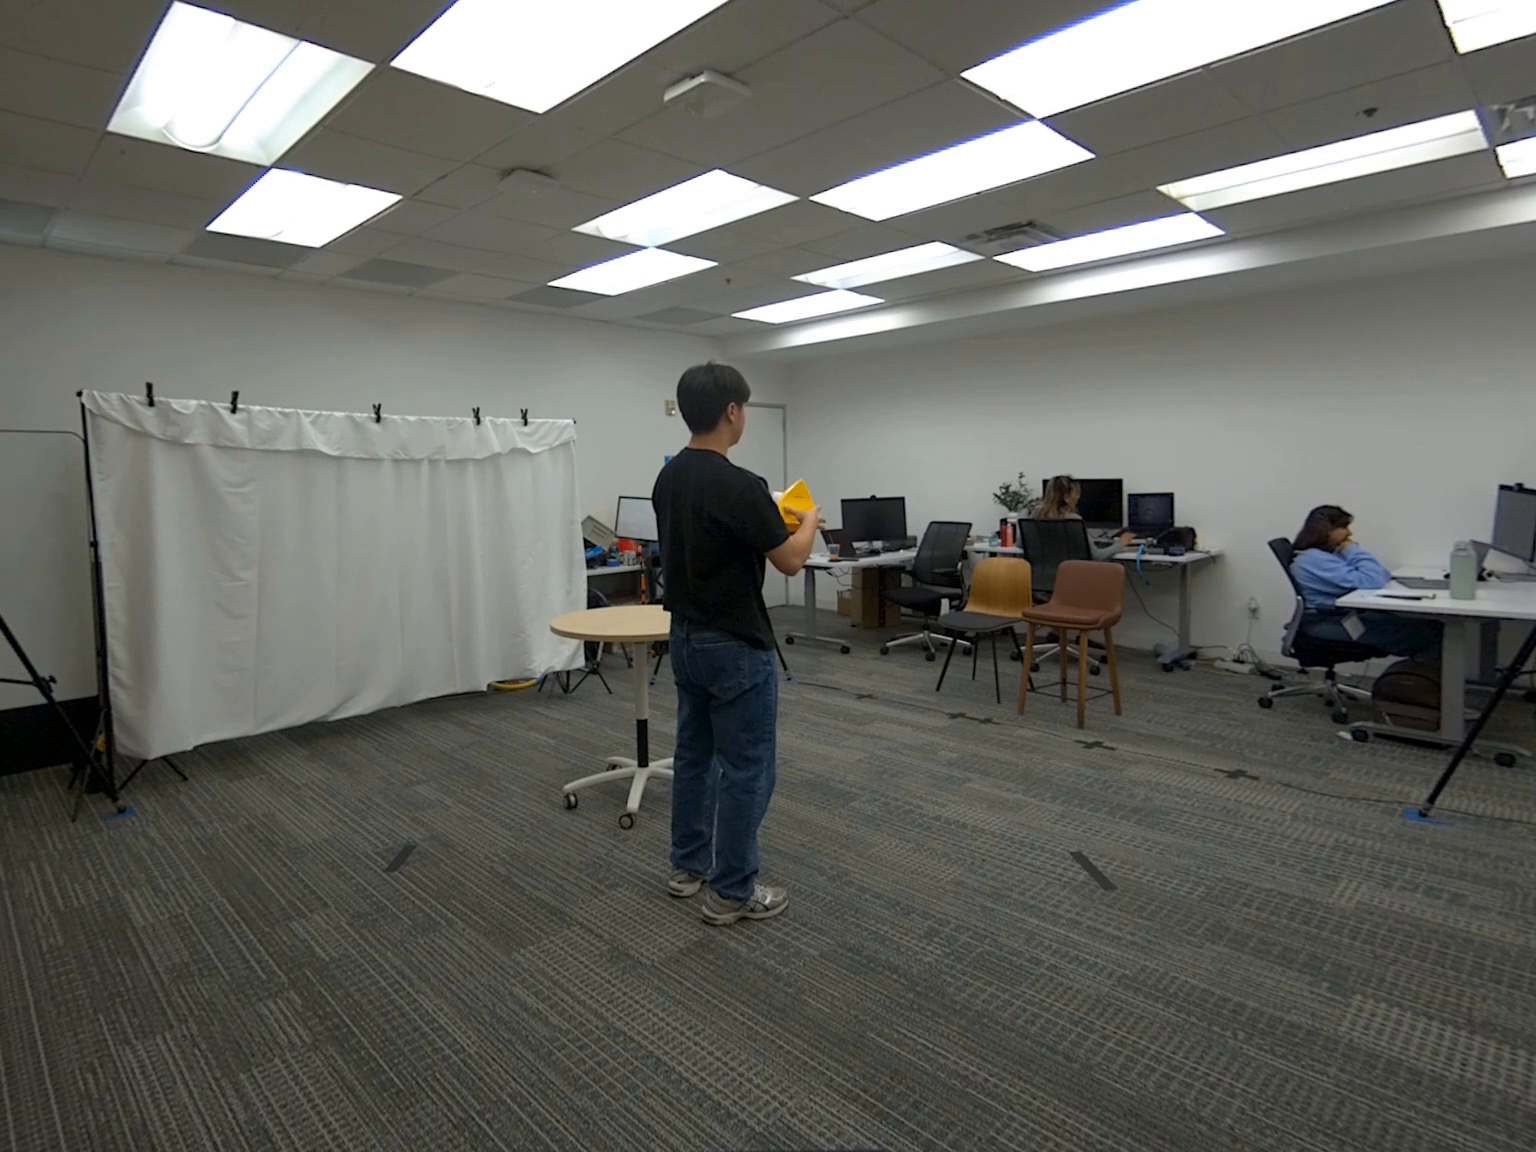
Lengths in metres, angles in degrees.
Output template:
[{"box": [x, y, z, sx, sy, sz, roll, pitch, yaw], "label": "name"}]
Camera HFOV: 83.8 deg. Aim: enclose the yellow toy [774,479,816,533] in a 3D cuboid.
[{"box": [0.076, -0.238, 2.982, 0.199, 0.229, 0.199, 4, 12, -29], "label": "yellow toy"}]
